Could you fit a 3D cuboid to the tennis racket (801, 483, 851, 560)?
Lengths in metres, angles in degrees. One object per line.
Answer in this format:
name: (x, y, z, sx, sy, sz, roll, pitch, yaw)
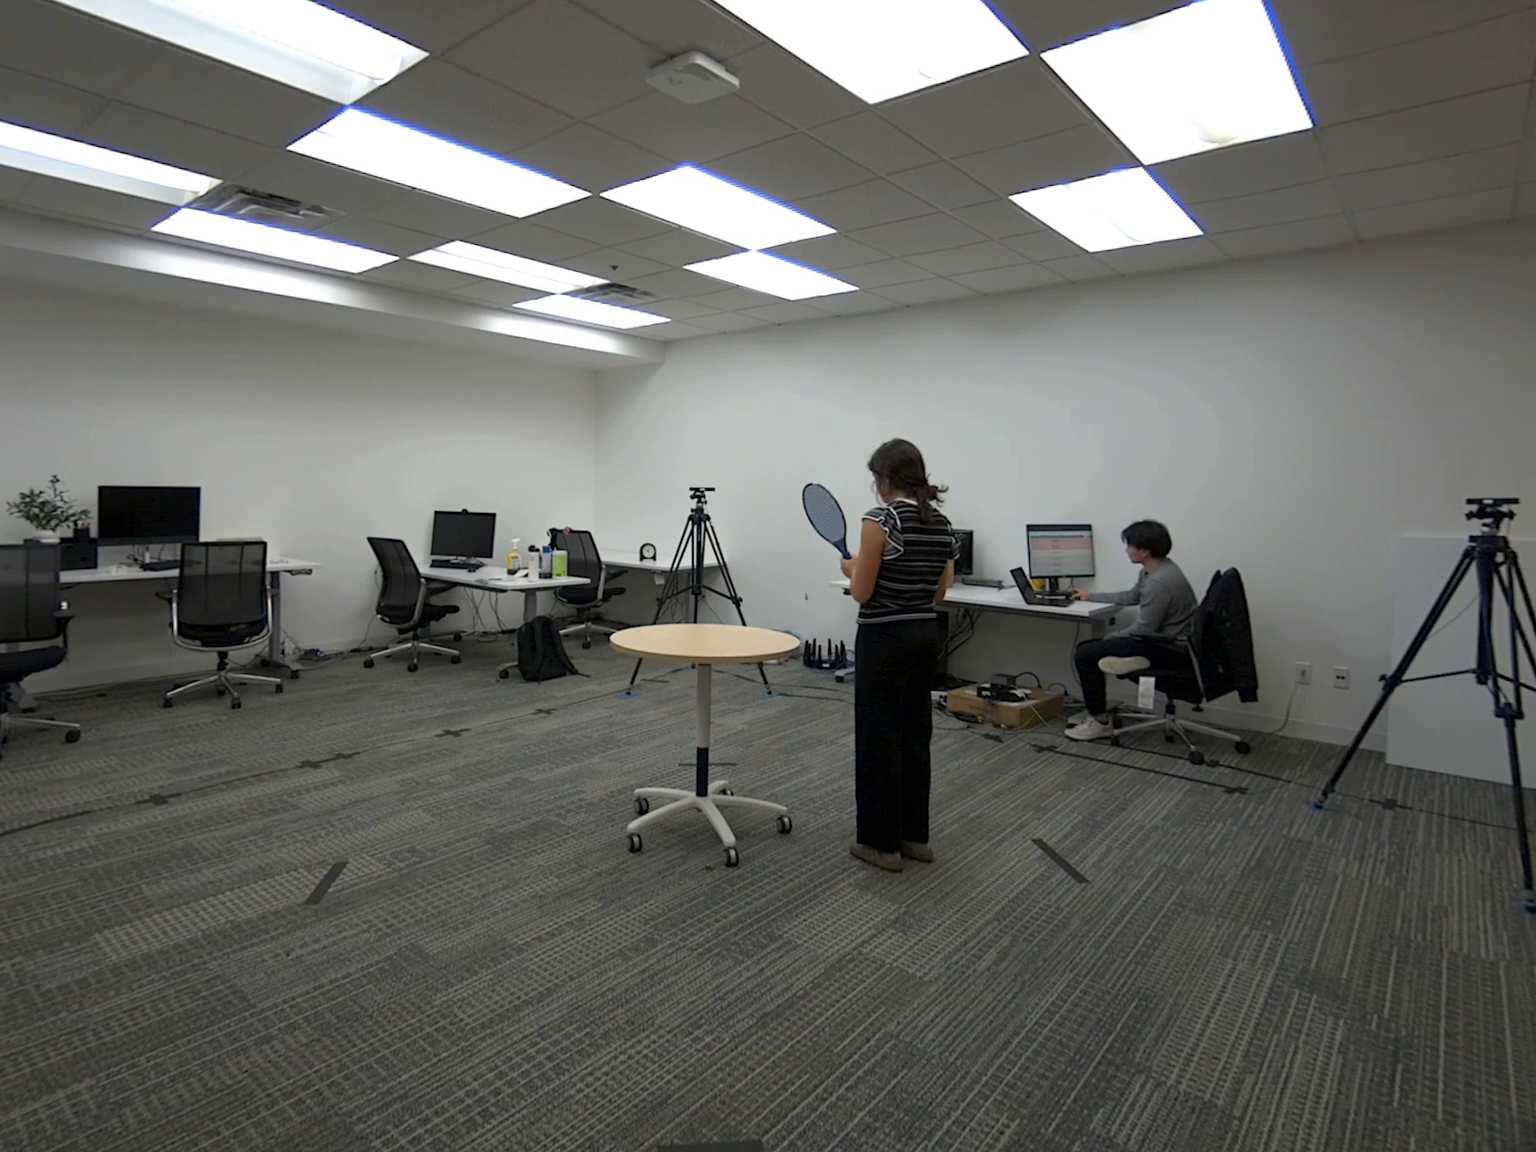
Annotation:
tennis racket: (0.249, -0.181, 3.373, 0.031, 0.435, 0.215, -26, -4, -30)
